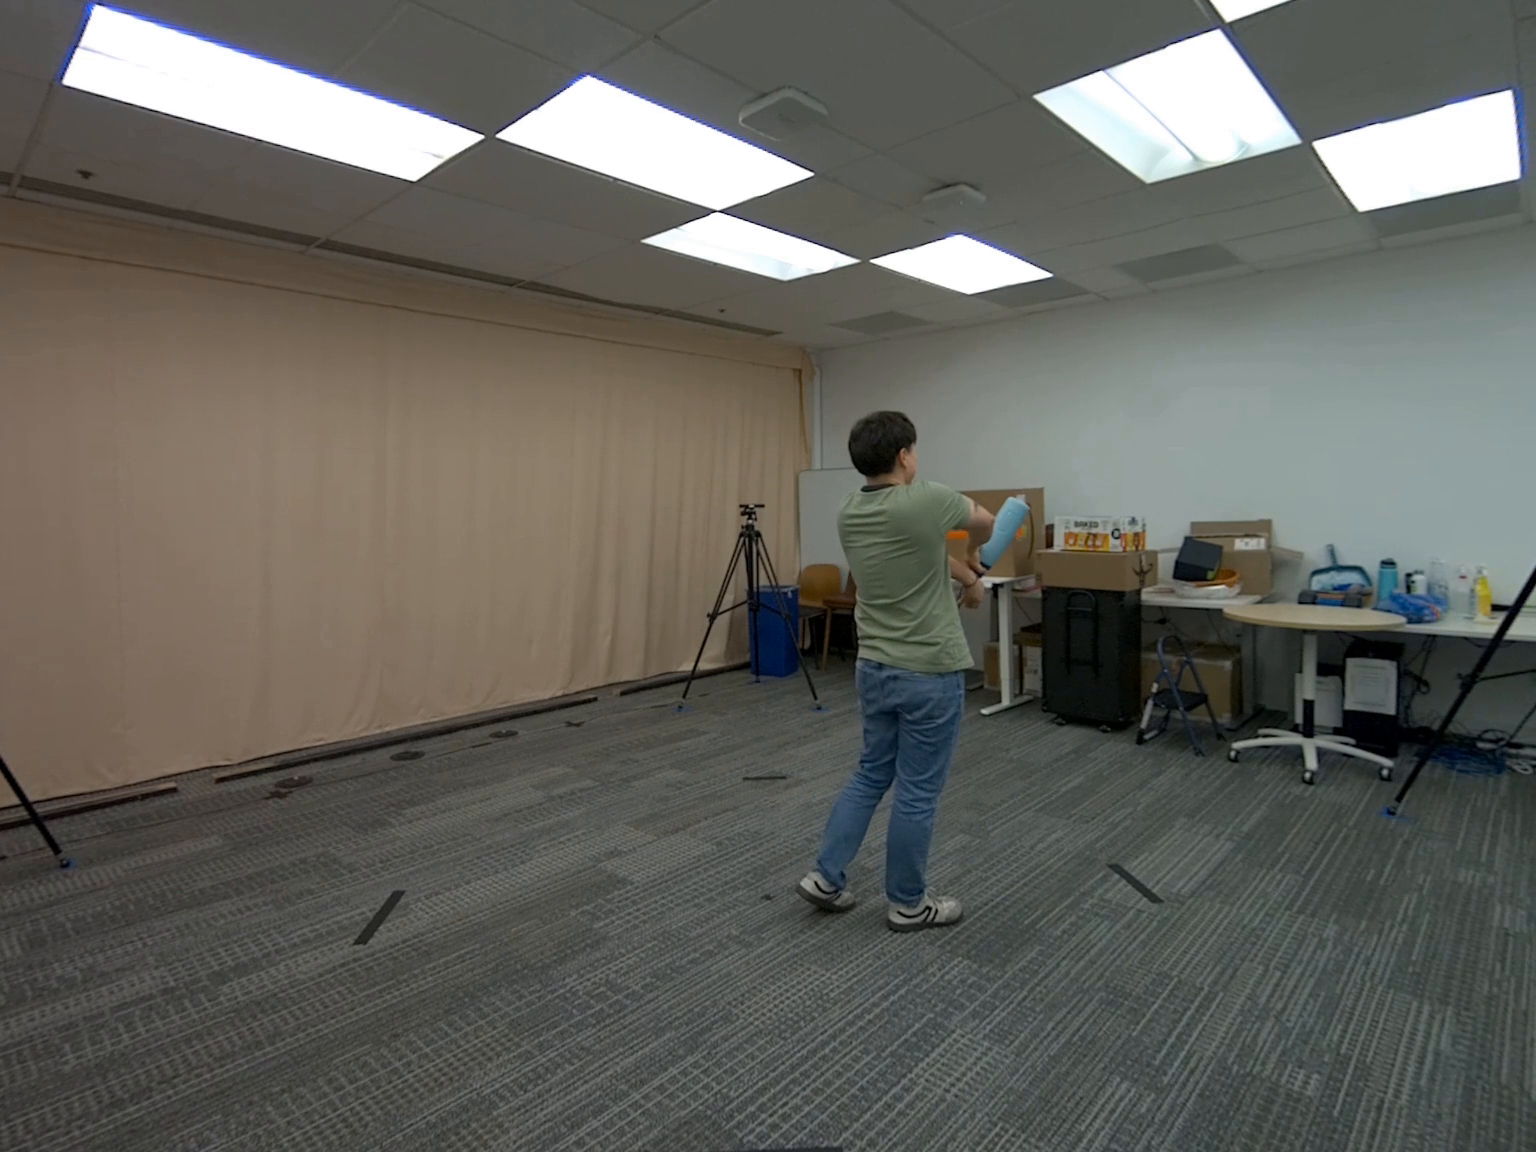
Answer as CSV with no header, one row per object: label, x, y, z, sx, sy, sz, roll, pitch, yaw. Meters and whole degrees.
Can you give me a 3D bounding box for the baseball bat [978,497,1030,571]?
baseball bat,0.768,-0.029,3.003,0.088,0.543,0.090,28,9,-7
